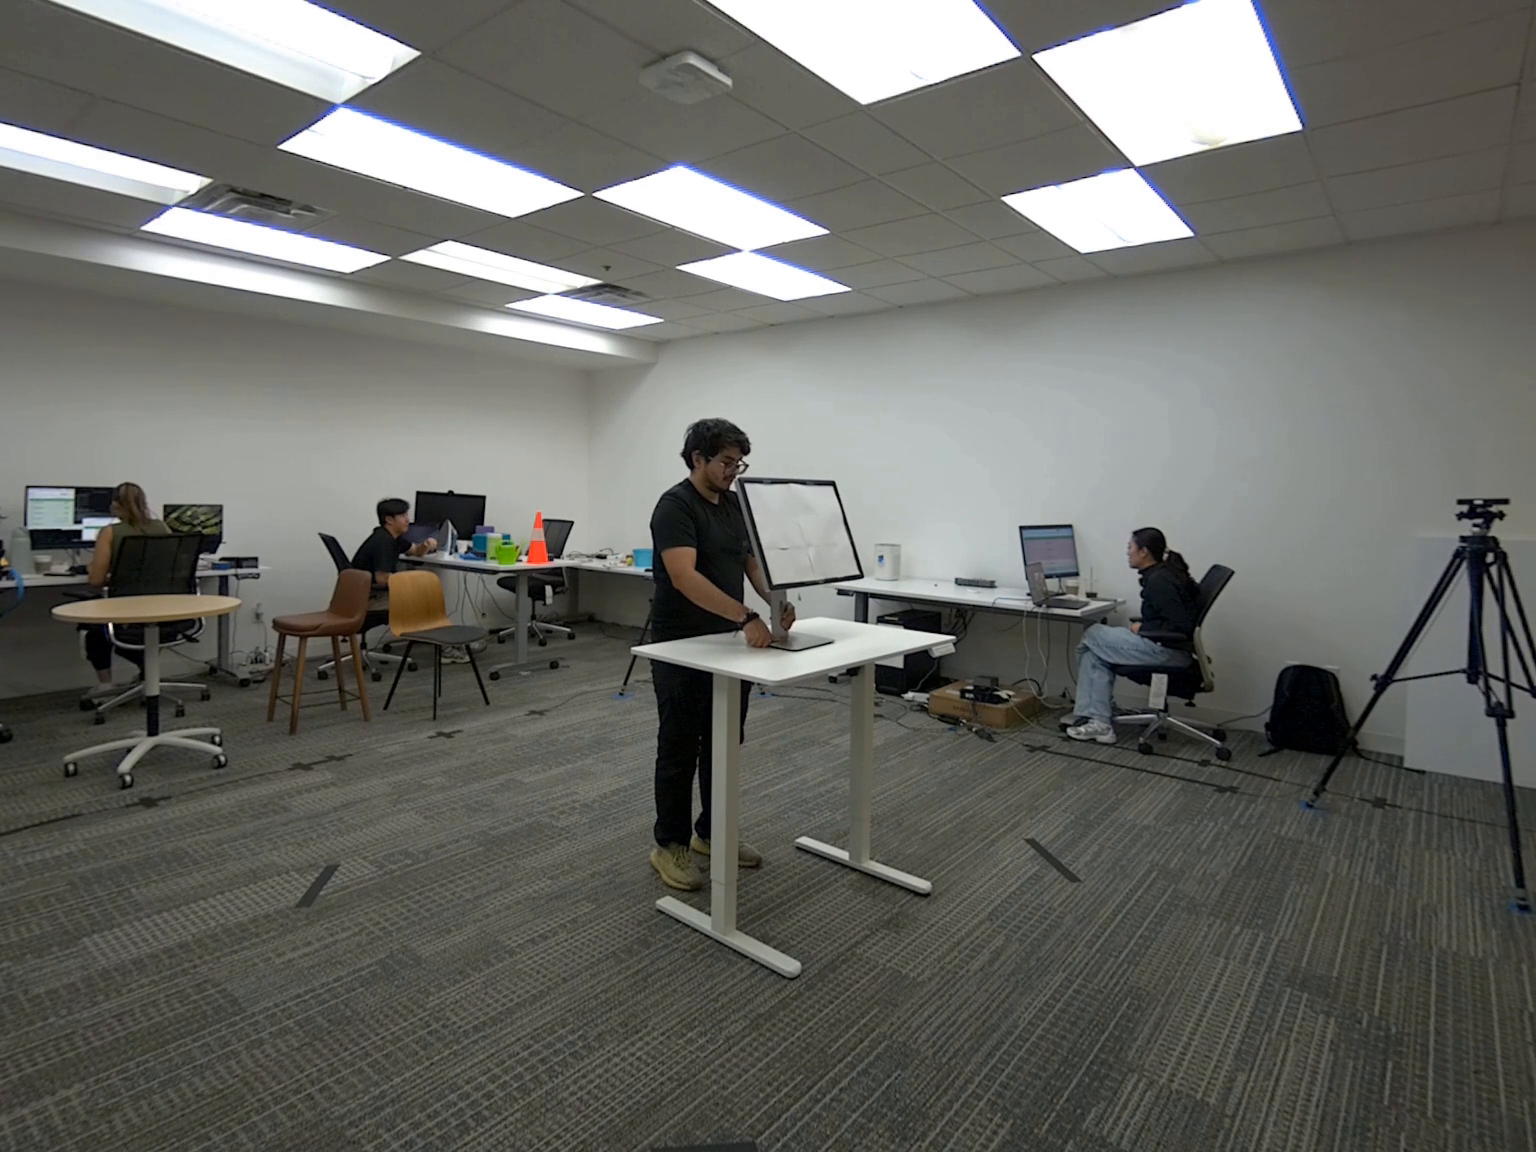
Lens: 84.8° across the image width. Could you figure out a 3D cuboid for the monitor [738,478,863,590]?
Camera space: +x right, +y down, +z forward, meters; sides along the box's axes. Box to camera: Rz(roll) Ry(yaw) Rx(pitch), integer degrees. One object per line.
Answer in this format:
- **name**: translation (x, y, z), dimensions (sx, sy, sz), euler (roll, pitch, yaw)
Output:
- **monitor**: translation (0.057, -0.048, 2.826), dimensions (0.215, 0.557, 0.549), euler (-12, -4, 36)
